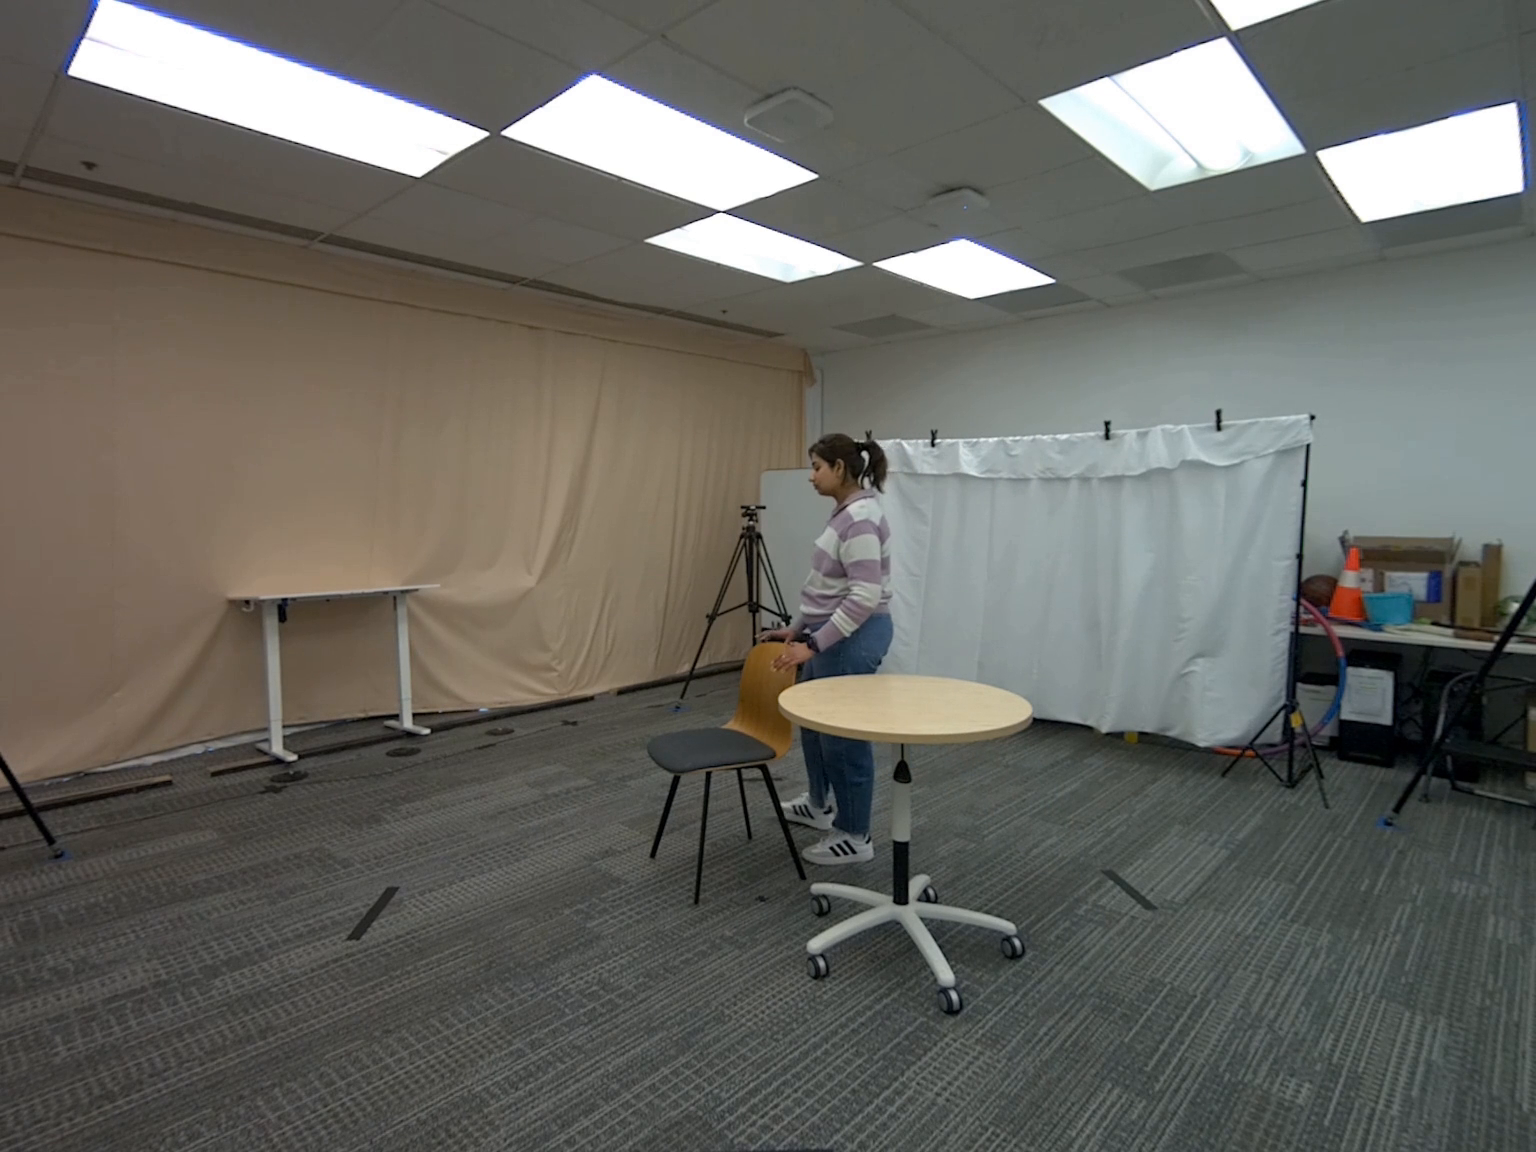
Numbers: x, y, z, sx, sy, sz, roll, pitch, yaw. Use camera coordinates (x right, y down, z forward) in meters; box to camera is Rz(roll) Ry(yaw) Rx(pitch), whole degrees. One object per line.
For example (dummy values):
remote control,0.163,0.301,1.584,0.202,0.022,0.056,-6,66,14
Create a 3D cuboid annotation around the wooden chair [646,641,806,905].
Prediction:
wooden chair,-0.171,0.697,3.202,0.509,0.877,0.491,3,2,-27
